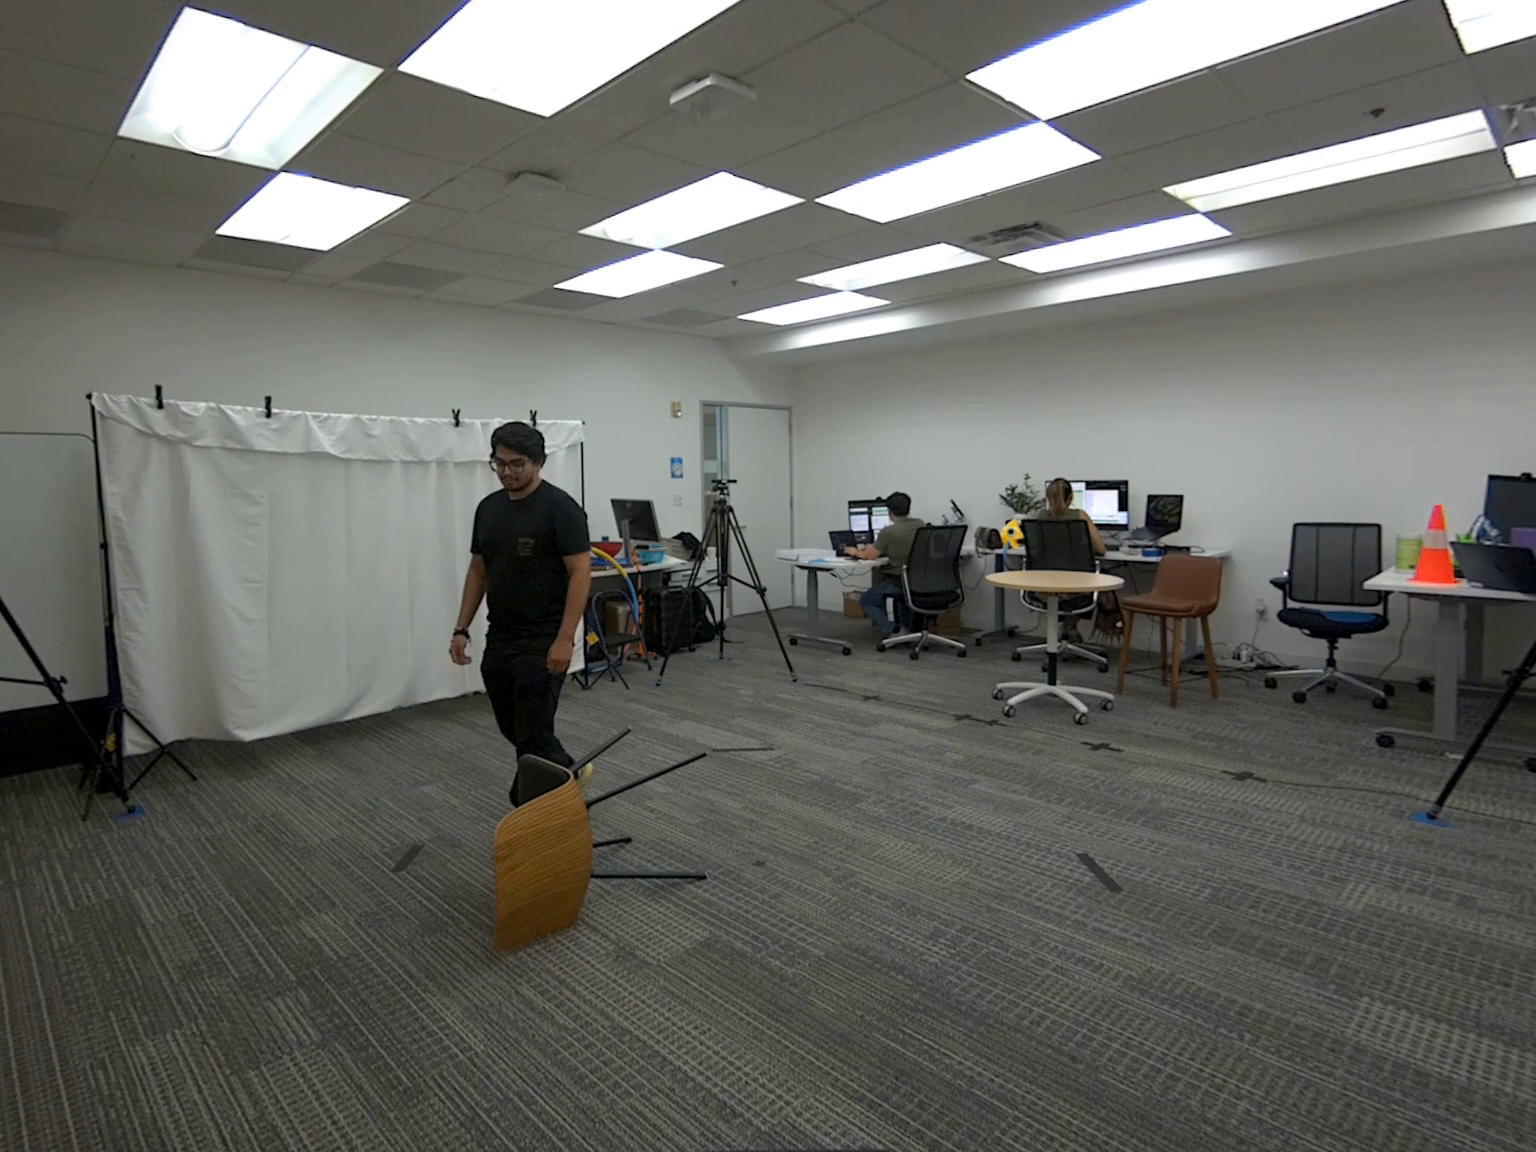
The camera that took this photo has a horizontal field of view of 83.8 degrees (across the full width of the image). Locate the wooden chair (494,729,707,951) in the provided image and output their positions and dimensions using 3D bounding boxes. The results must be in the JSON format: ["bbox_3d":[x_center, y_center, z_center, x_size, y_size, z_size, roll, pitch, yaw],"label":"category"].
[{"bbox_3d":[-0.674,0.858,2.862,0.539,0.476,0.855,4,8,41],"label":"wooden chair"}]
